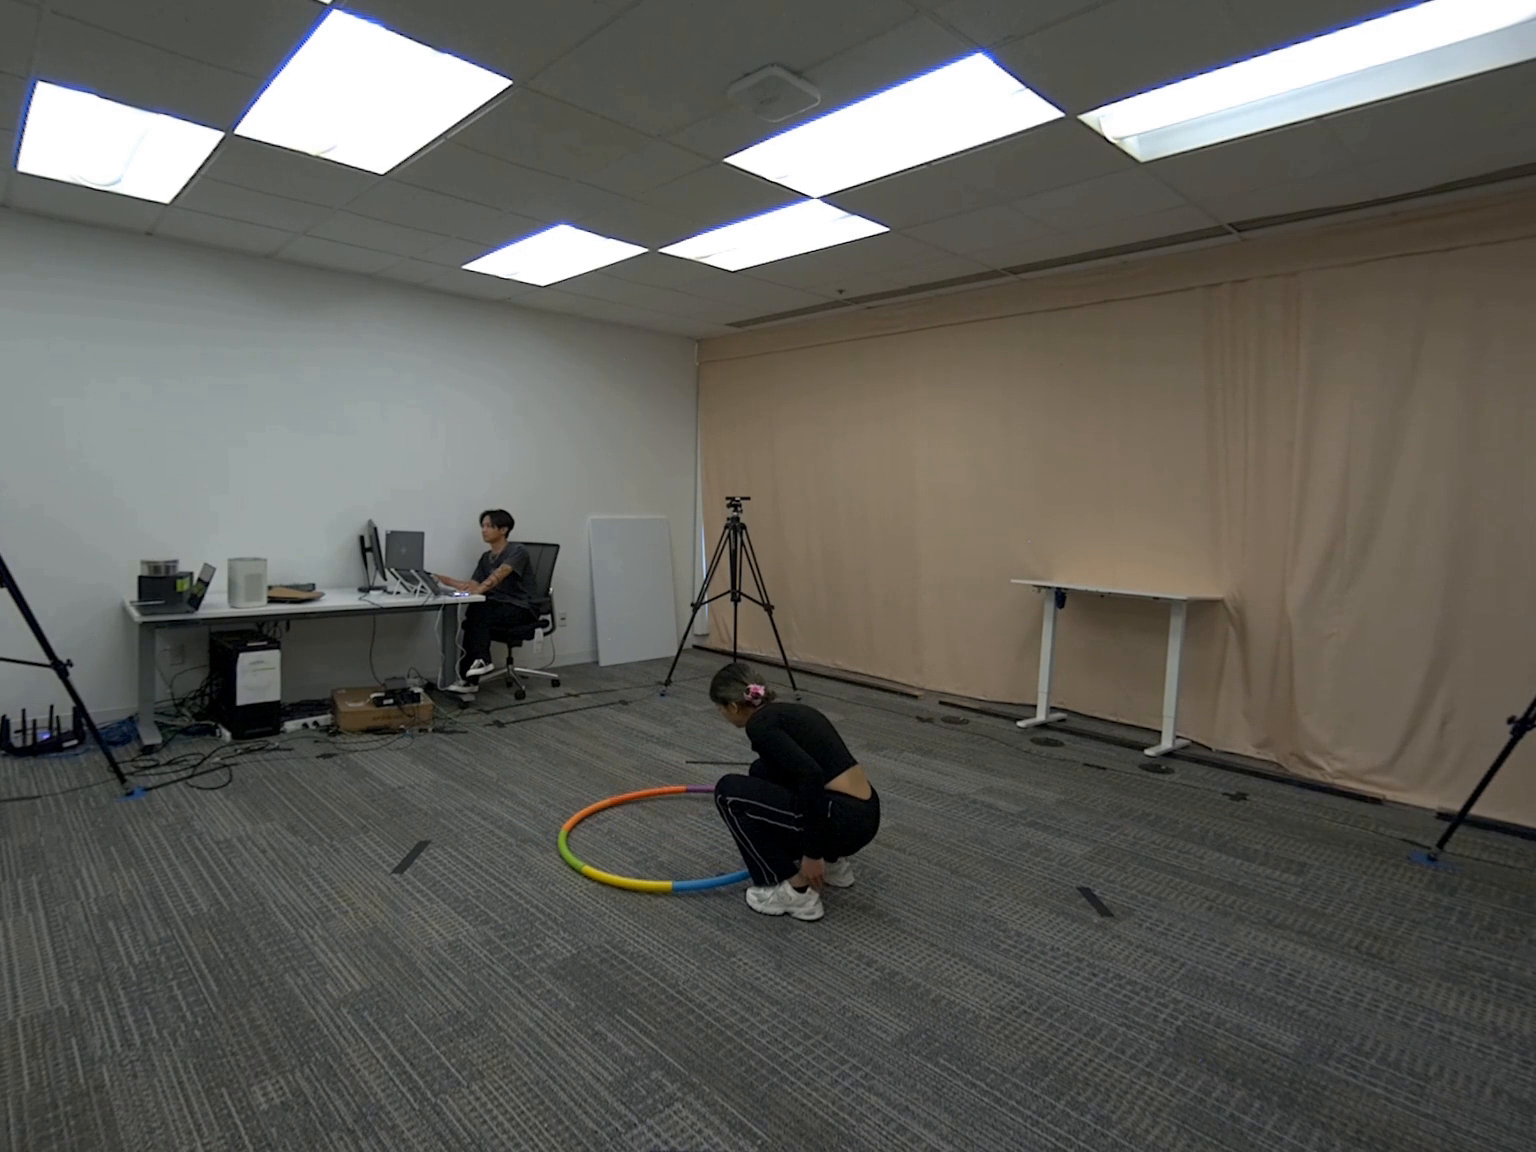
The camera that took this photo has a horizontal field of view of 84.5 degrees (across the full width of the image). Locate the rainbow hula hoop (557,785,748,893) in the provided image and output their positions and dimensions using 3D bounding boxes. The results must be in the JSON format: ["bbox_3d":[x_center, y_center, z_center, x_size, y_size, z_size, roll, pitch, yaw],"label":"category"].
[{"bbox_3d":[-0.363,1.018,3.420,0.978,0.035,0.983,-1,6,-1],"label":"rainbow hula hoop"}]
